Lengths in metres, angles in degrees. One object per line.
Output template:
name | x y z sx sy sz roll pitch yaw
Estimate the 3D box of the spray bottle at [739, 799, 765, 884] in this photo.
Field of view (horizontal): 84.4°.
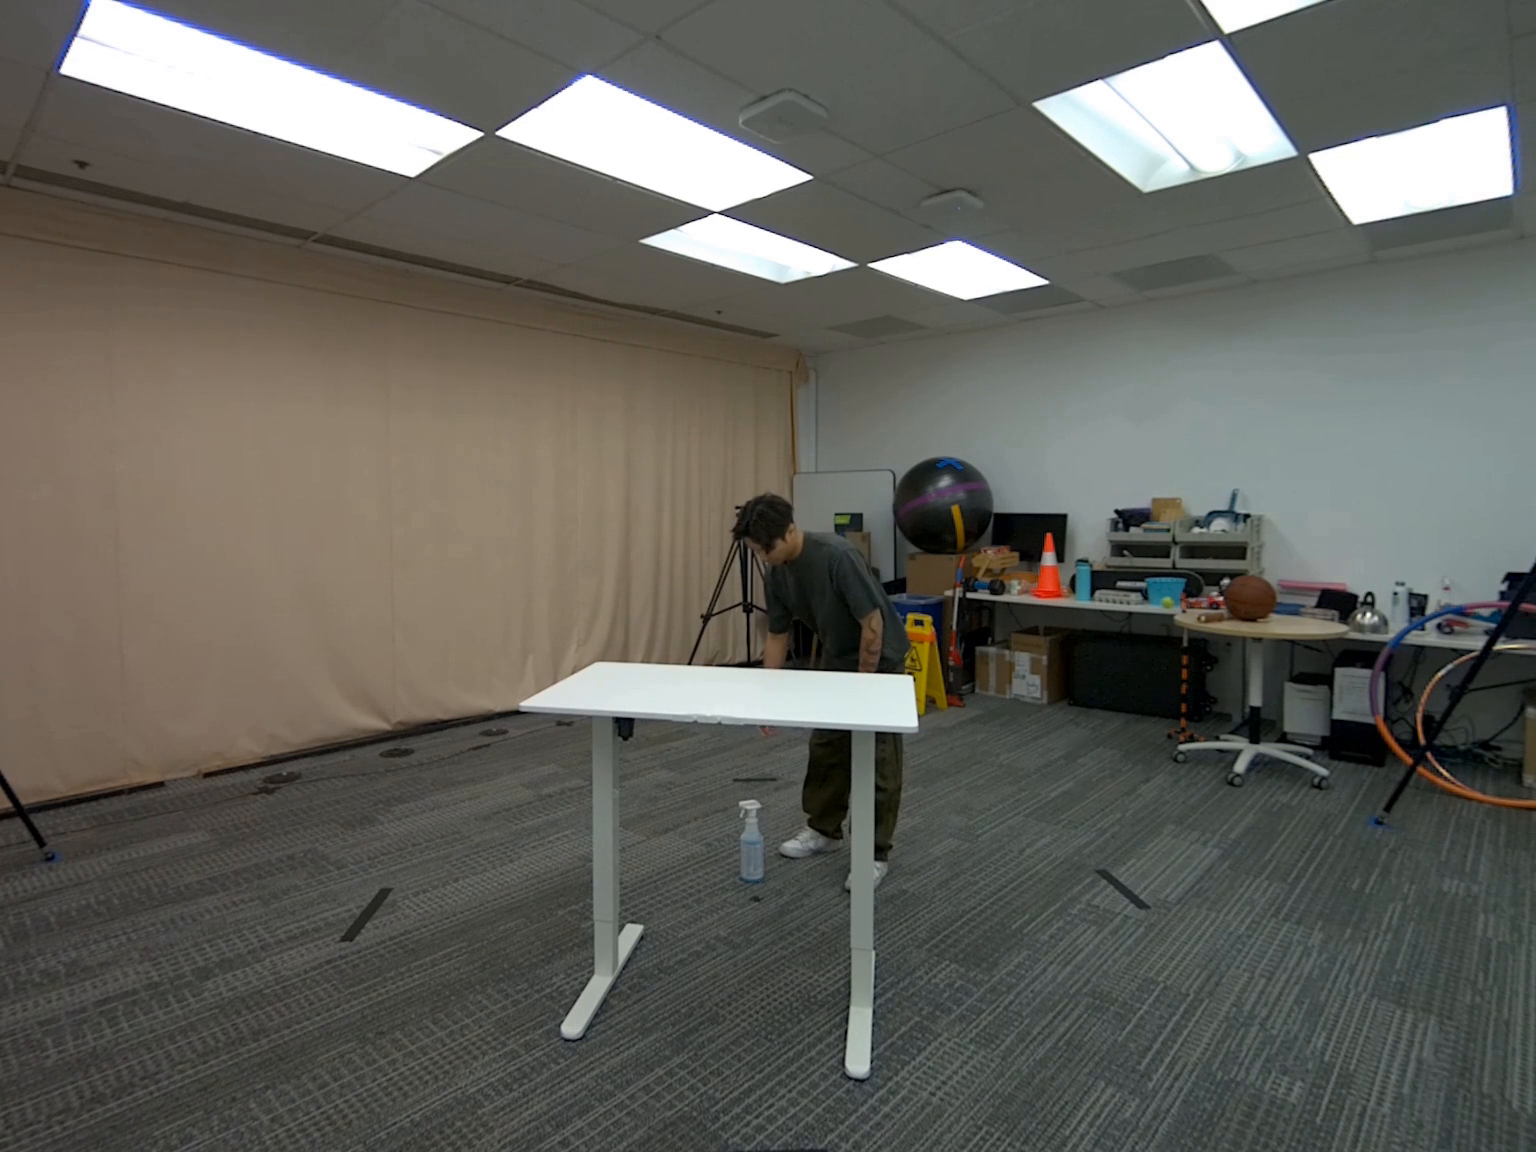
spray bottle | -0.058 0.990 3.145 0.090 0.296 0.087 -2 4 -3
